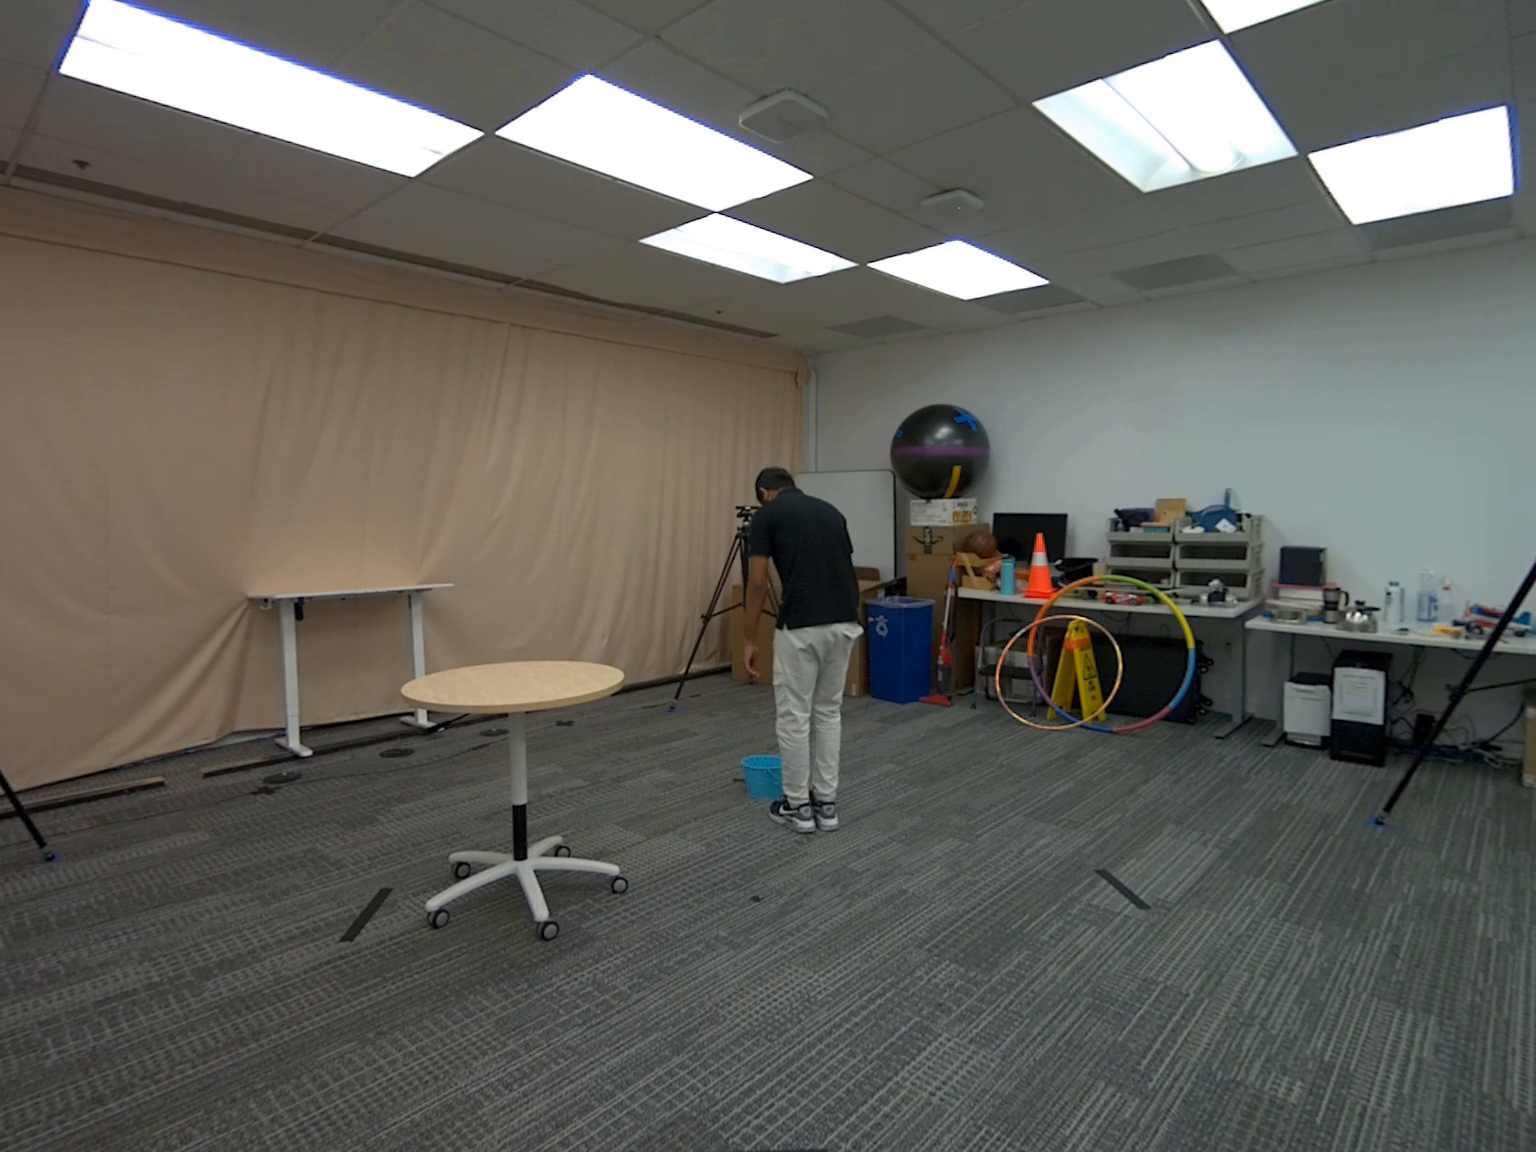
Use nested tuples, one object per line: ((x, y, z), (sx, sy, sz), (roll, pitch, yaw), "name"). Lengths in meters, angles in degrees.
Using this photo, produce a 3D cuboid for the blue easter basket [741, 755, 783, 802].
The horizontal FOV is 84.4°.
((-0.015, 0.973, 4.093), (0.243, 0.155, 0.244), (-1, 4, -2), "blue easter basket")
